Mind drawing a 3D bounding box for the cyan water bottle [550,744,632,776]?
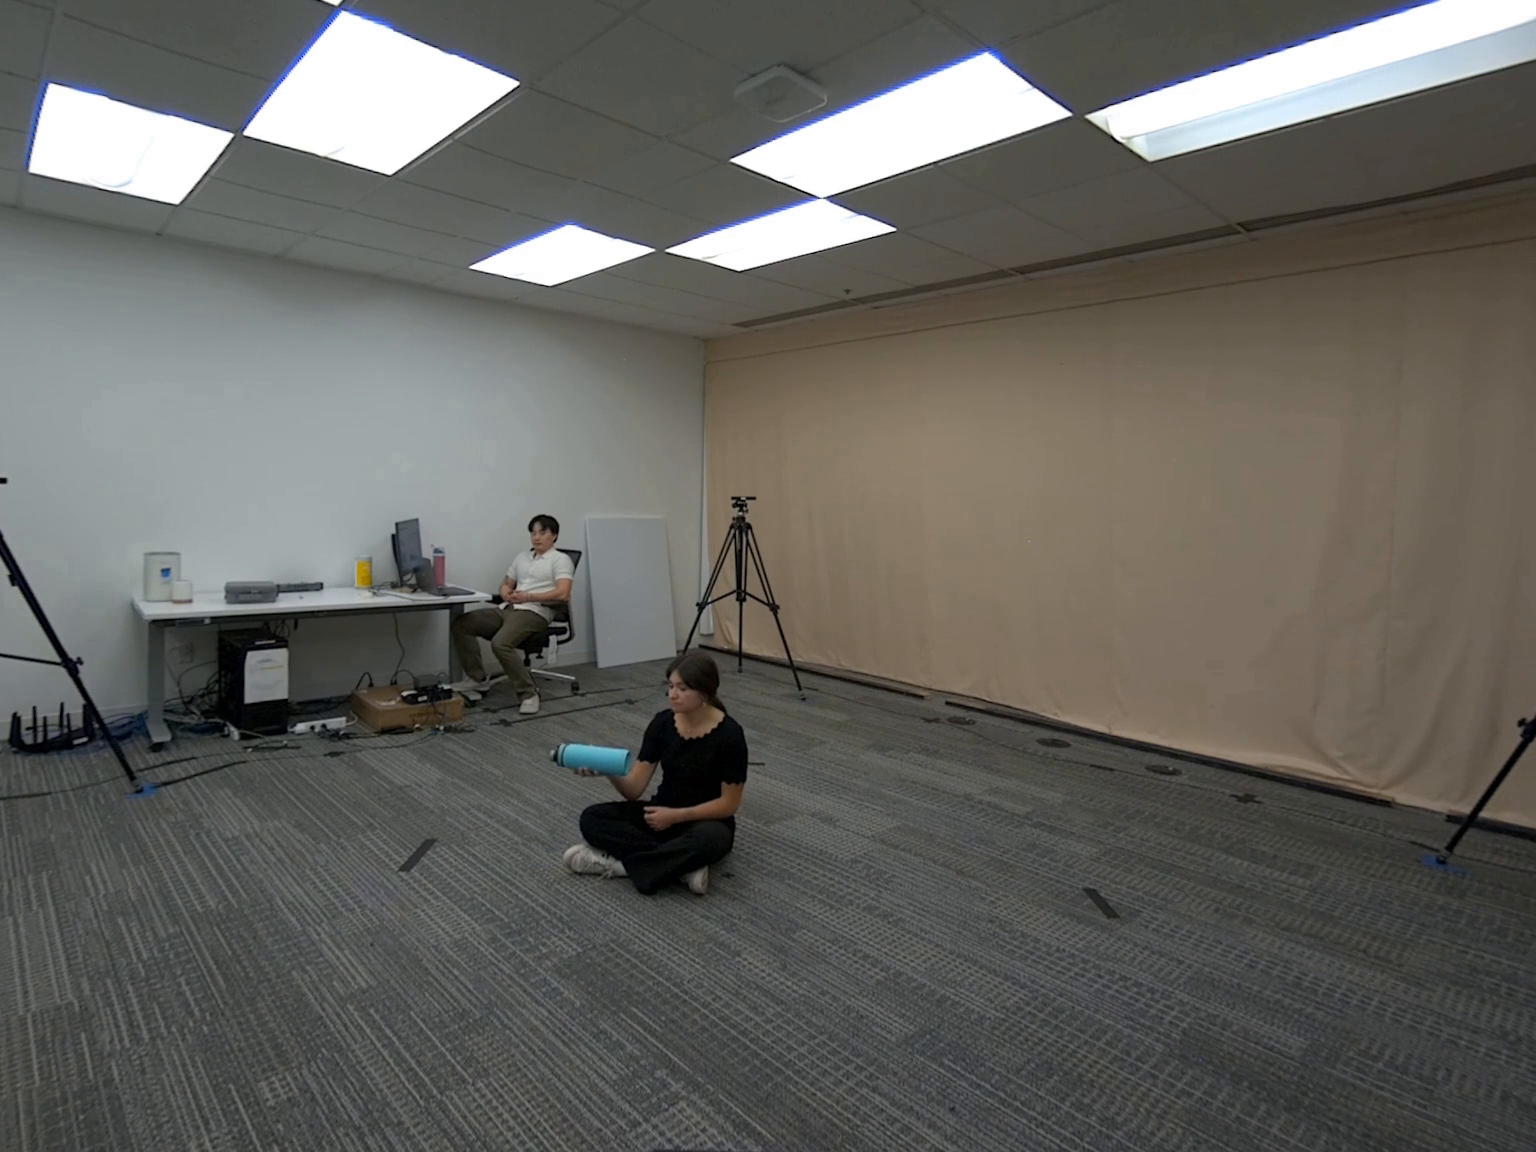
[{"bbox_3d":[-0.647,0.651,3.013,0.286,0.092,0.092,4,5,10],"label":"cyan water bottle"}]
